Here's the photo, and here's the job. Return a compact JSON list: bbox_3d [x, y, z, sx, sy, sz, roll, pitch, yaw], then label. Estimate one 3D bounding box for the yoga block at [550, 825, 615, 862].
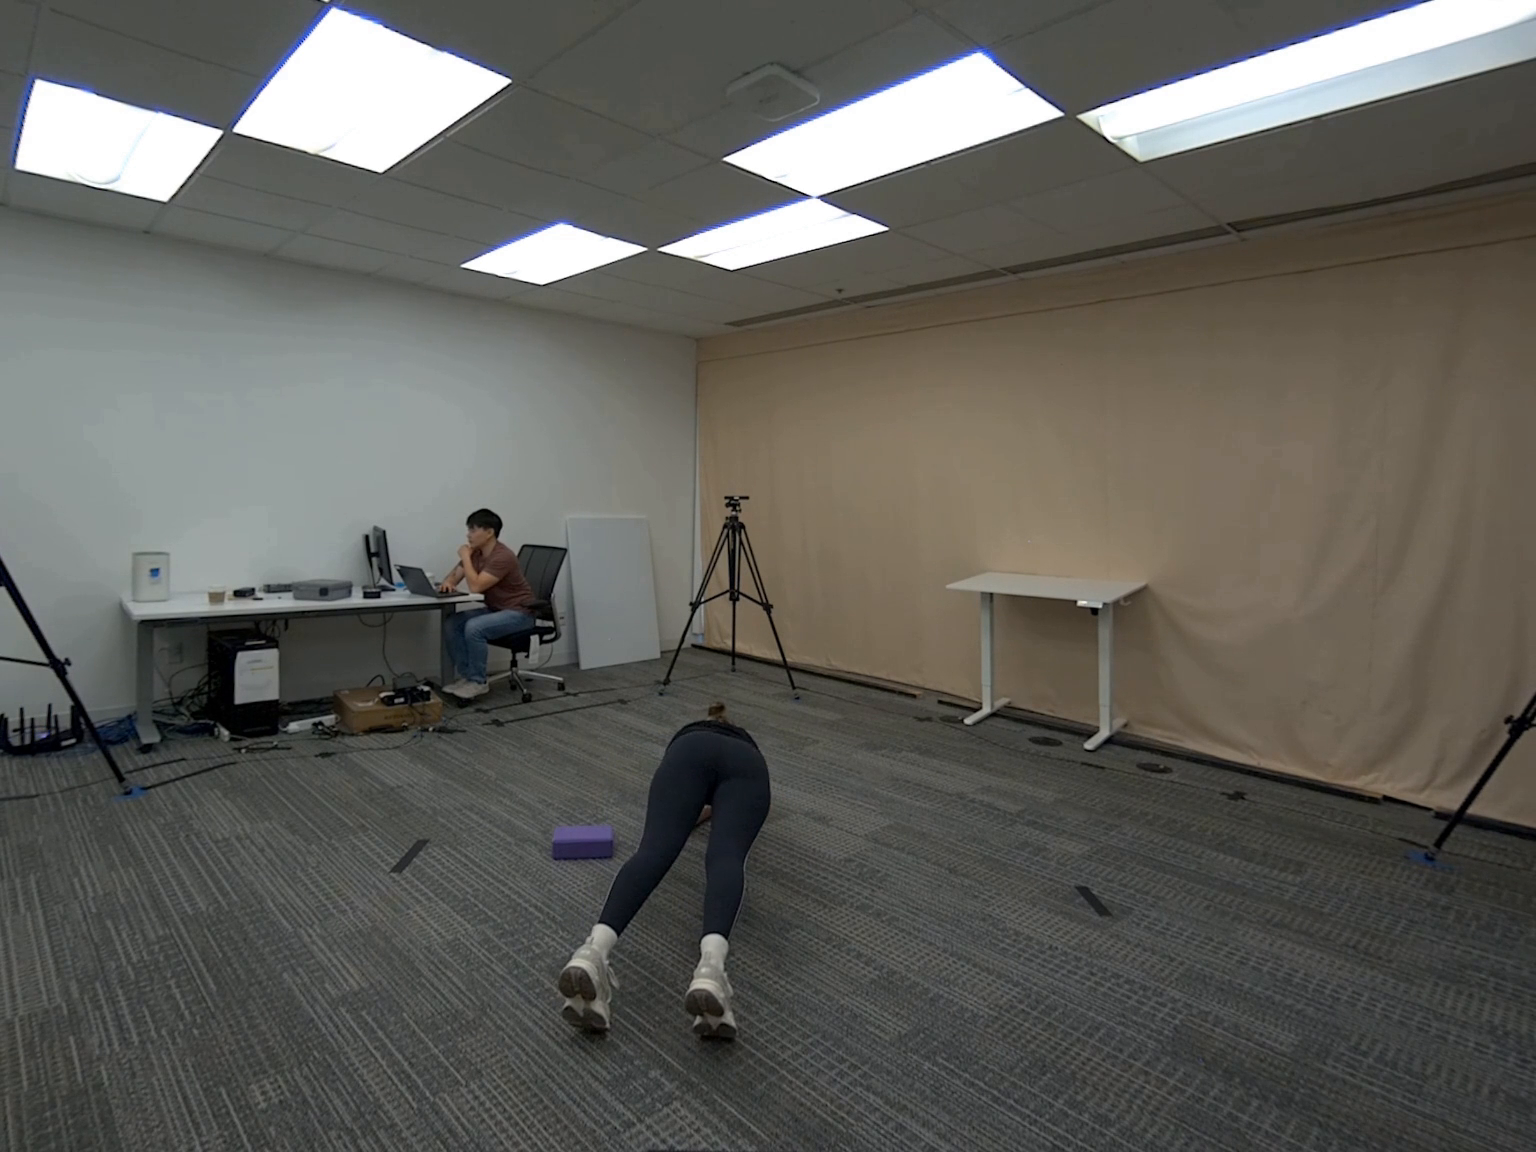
[{"bbox_3d":[-0.724,1.032,3.276,0.228,0.076,0.150,1,7,-8],"label":"yoga block"}]
